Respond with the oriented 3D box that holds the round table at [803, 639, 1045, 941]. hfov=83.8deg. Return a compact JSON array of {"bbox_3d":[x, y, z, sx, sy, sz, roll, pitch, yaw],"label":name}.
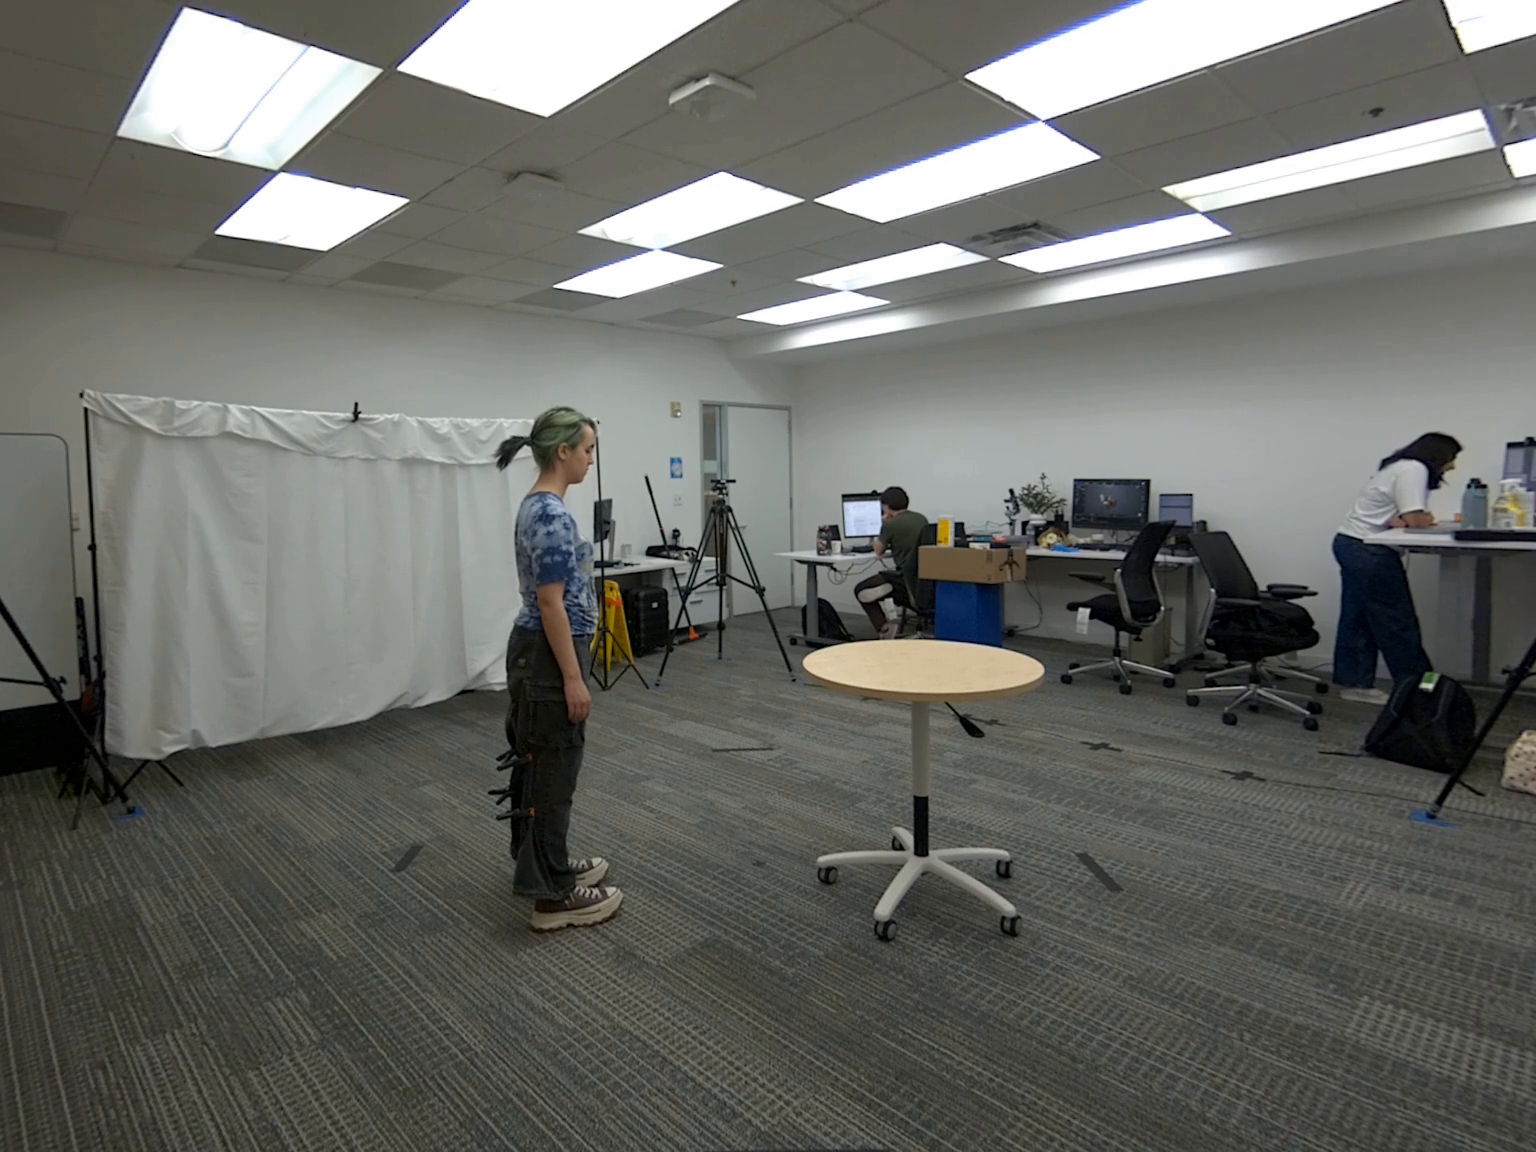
[{"bbox_3d":[0.497,0.675,2.818,0.784,0.783,0.789,-1,5,-2],"label":"round table"}]
